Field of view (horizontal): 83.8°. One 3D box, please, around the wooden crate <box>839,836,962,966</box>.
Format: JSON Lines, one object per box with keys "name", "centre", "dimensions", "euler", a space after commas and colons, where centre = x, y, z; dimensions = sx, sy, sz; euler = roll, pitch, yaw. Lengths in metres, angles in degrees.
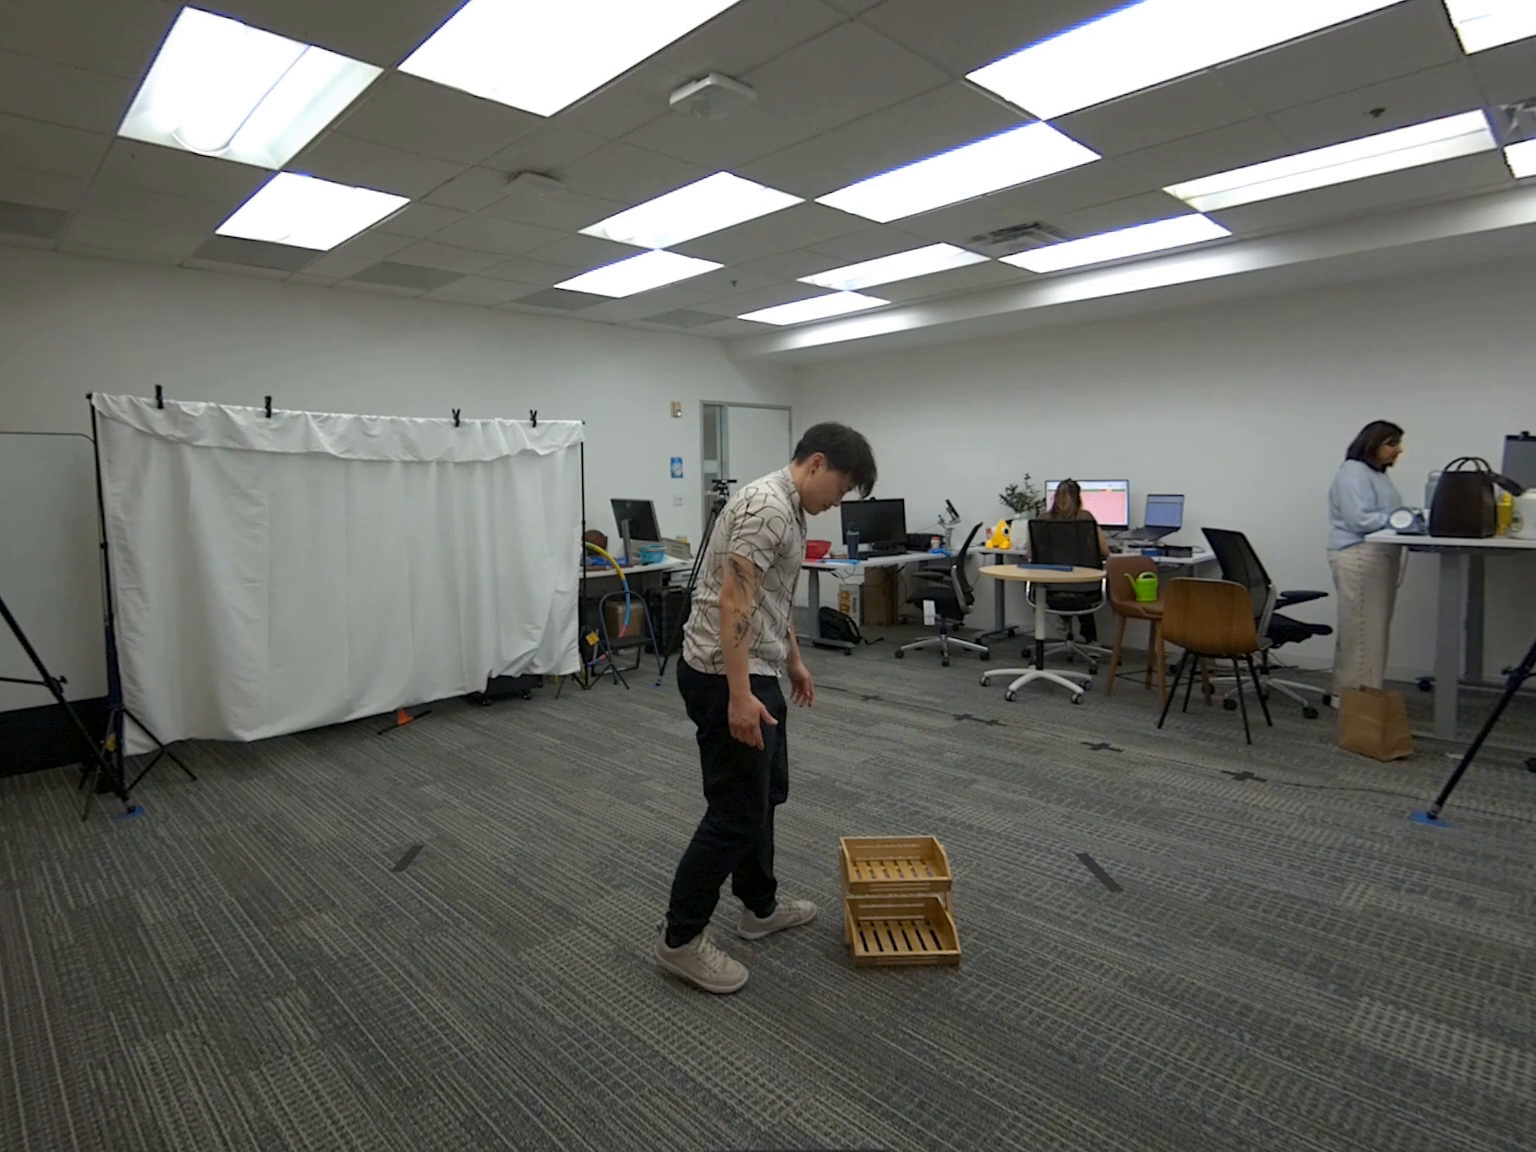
{"name": "wooden crate", "centre": [0.391, 0.968, 2.557], "dimensions": [0.324, 0.272, 0.304], "euler": [-1, 5, -3]}
